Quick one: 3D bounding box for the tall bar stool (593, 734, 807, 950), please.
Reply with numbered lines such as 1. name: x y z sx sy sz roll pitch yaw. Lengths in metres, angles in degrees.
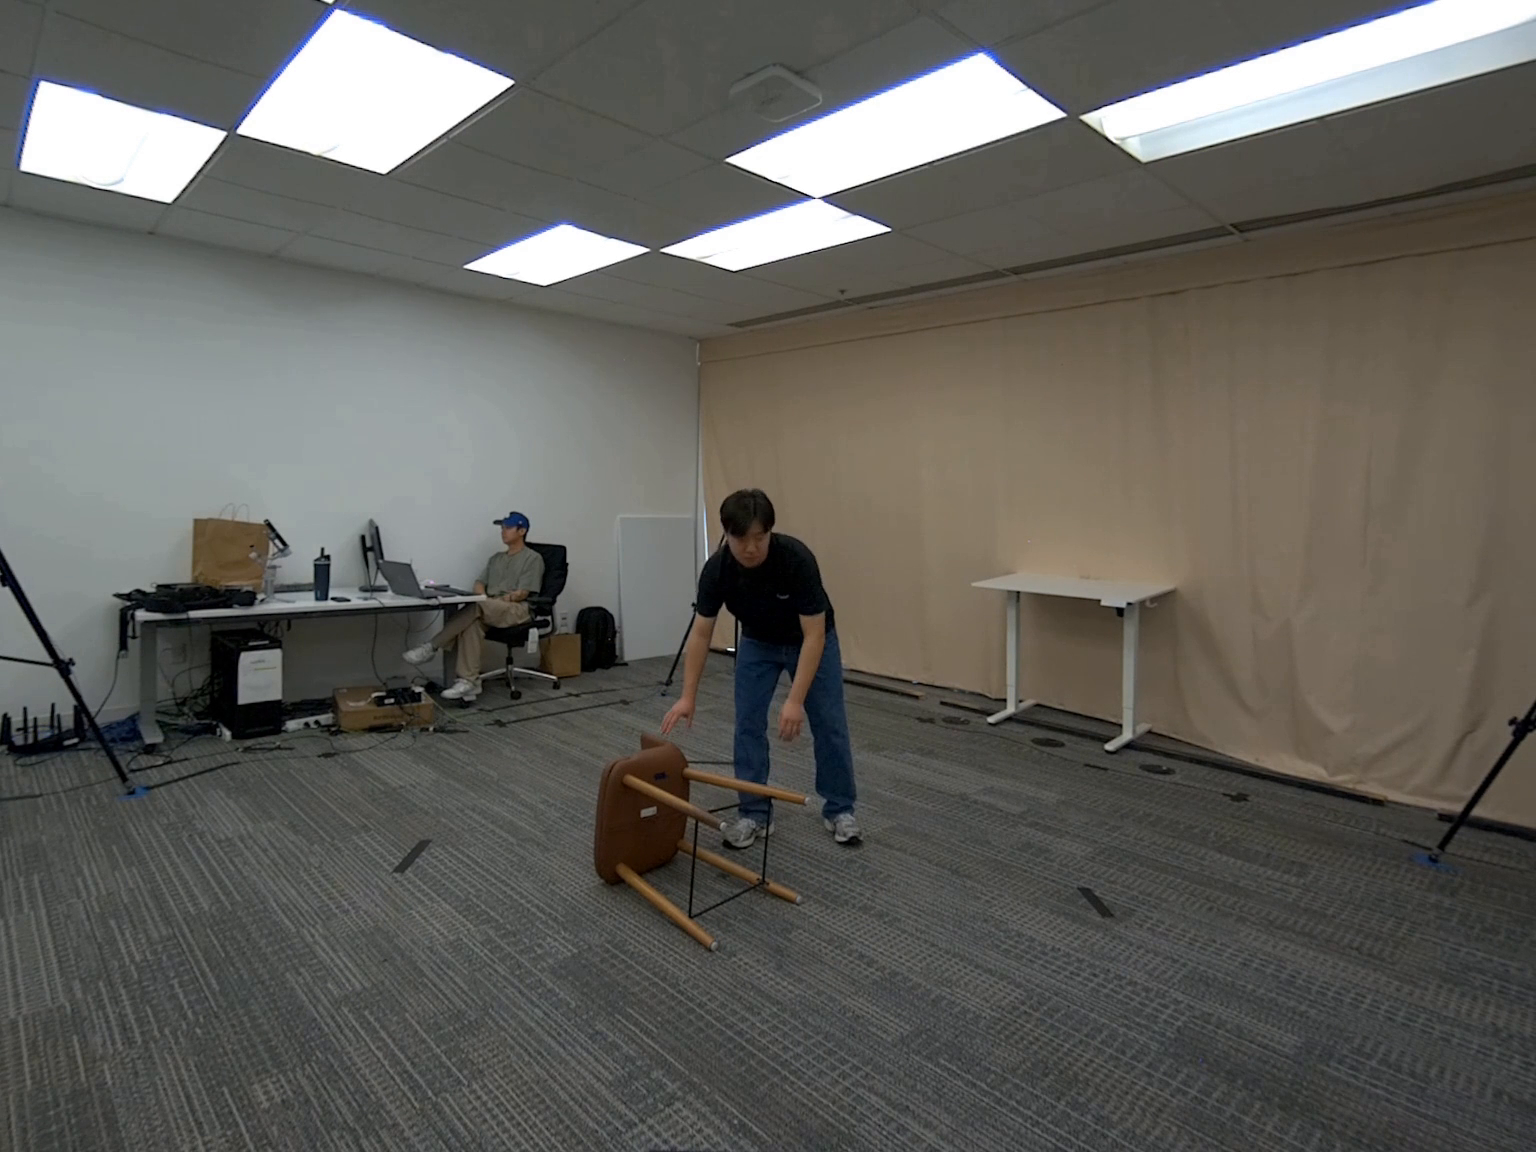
1. tall bar stool: -0.344 0.891 3.026 0.914 0.455 0.457 9 7 42
